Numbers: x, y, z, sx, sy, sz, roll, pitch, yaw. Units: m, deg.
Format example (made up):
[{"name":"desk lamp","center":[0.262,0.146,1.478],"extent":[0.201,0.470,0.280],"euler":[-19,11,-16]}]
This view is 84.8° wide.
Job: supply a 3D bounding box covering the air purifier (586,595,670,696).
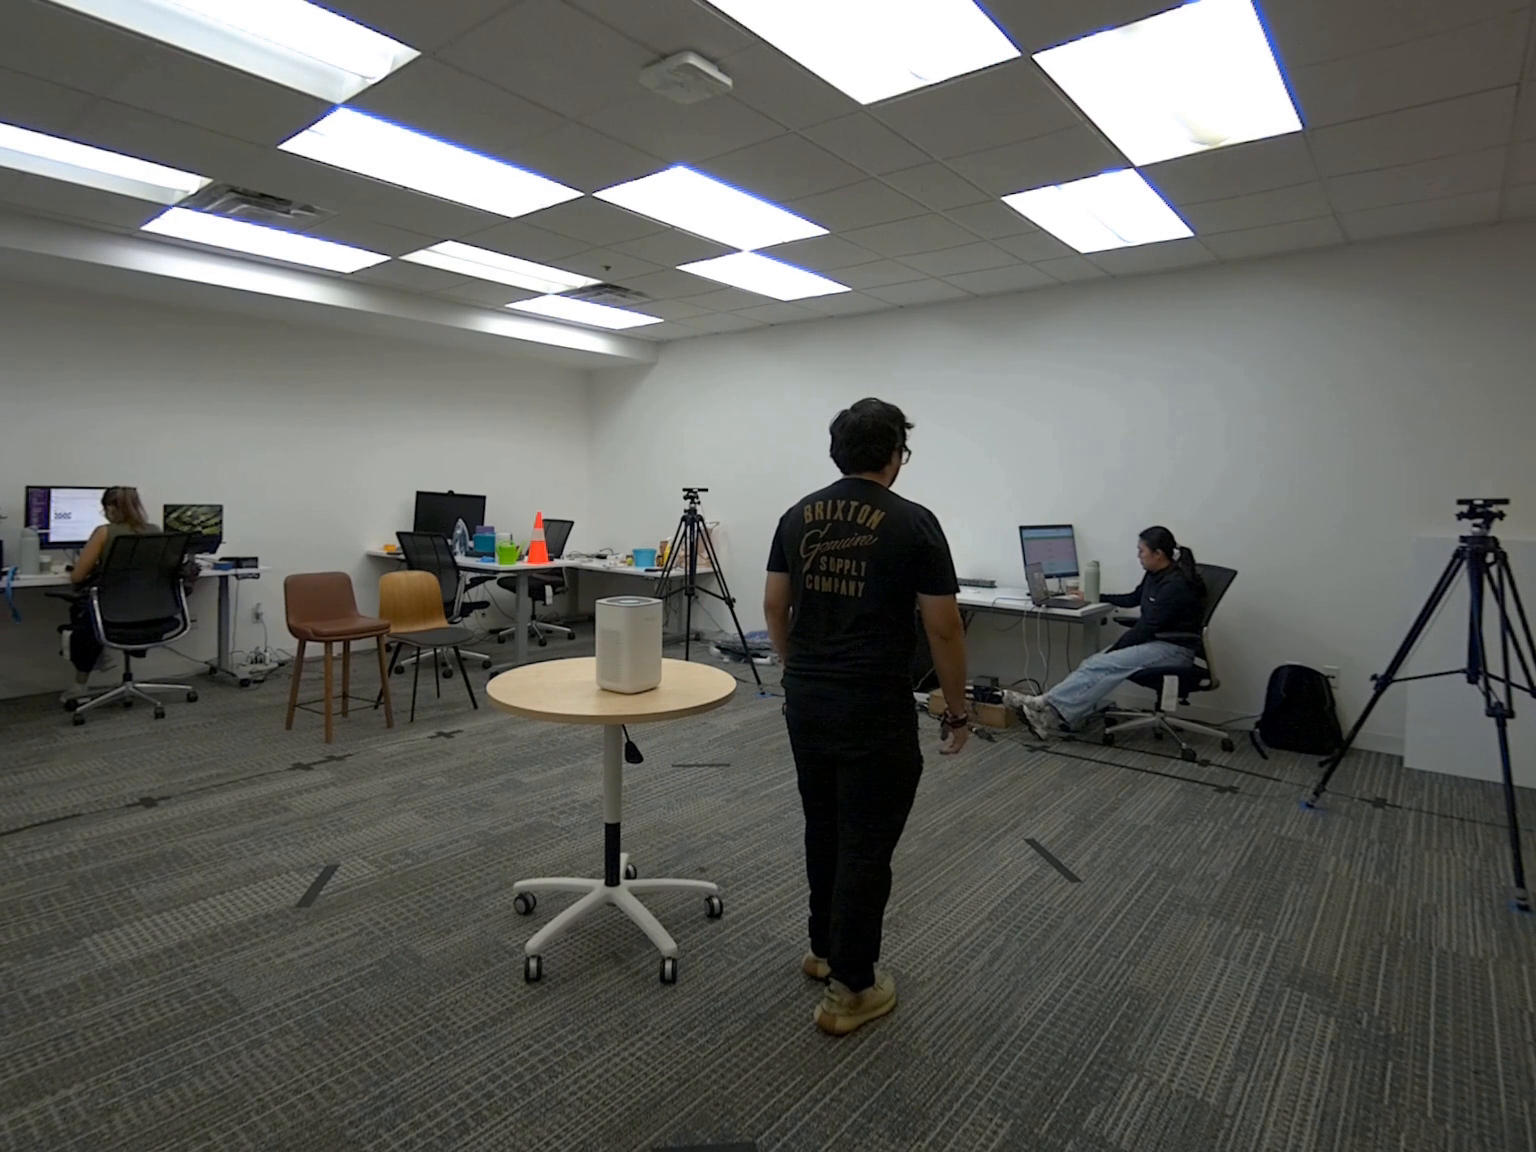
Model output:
[{"name":"air purifier","center":[-0.428,0.203,2.563],"extent":[0.179,0.261,0.164],"euler":[1,5,35]}]
